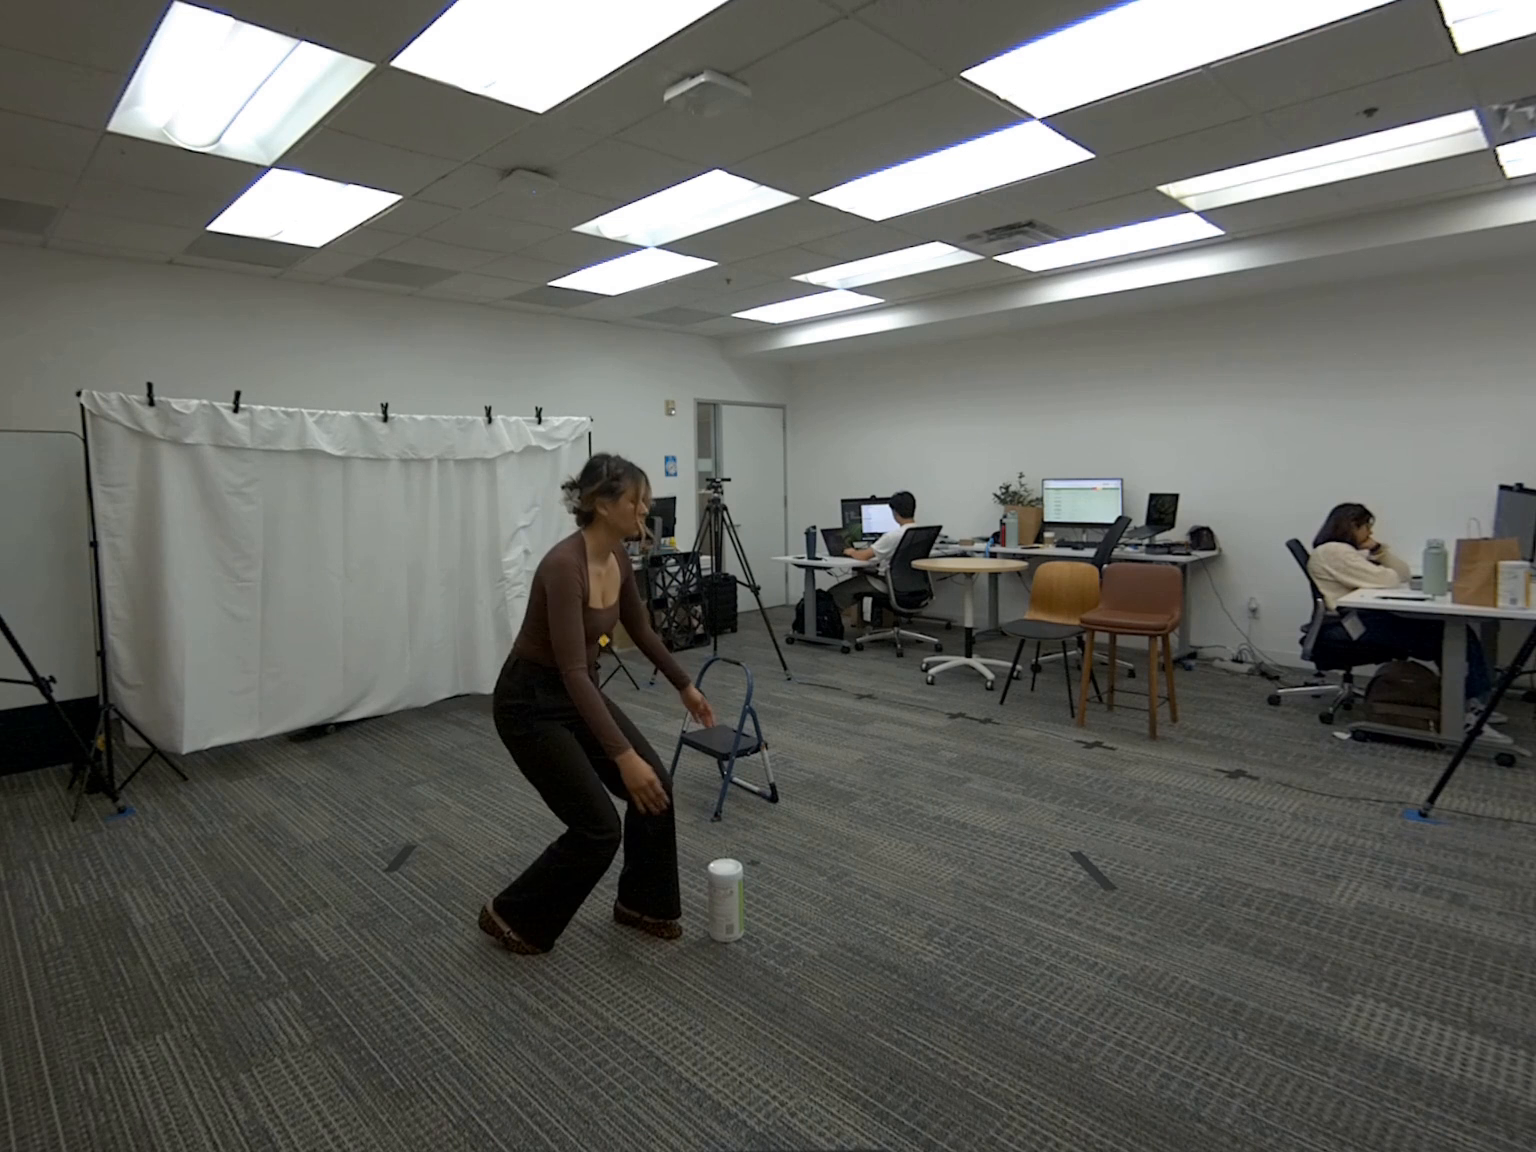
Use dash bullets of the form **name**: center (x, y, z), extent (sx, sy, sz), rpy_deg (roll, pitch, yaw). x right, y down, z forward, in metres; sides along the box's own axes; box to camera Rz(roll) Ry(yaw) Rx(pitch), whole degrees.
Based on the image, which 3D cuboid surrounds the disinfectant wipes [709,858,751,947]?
- **disinfectant wipes**: center (-0.118, 0.990, 2.612), extent (0.118, 0.217, 0.118), rpy_deg (1, 1, -2)
